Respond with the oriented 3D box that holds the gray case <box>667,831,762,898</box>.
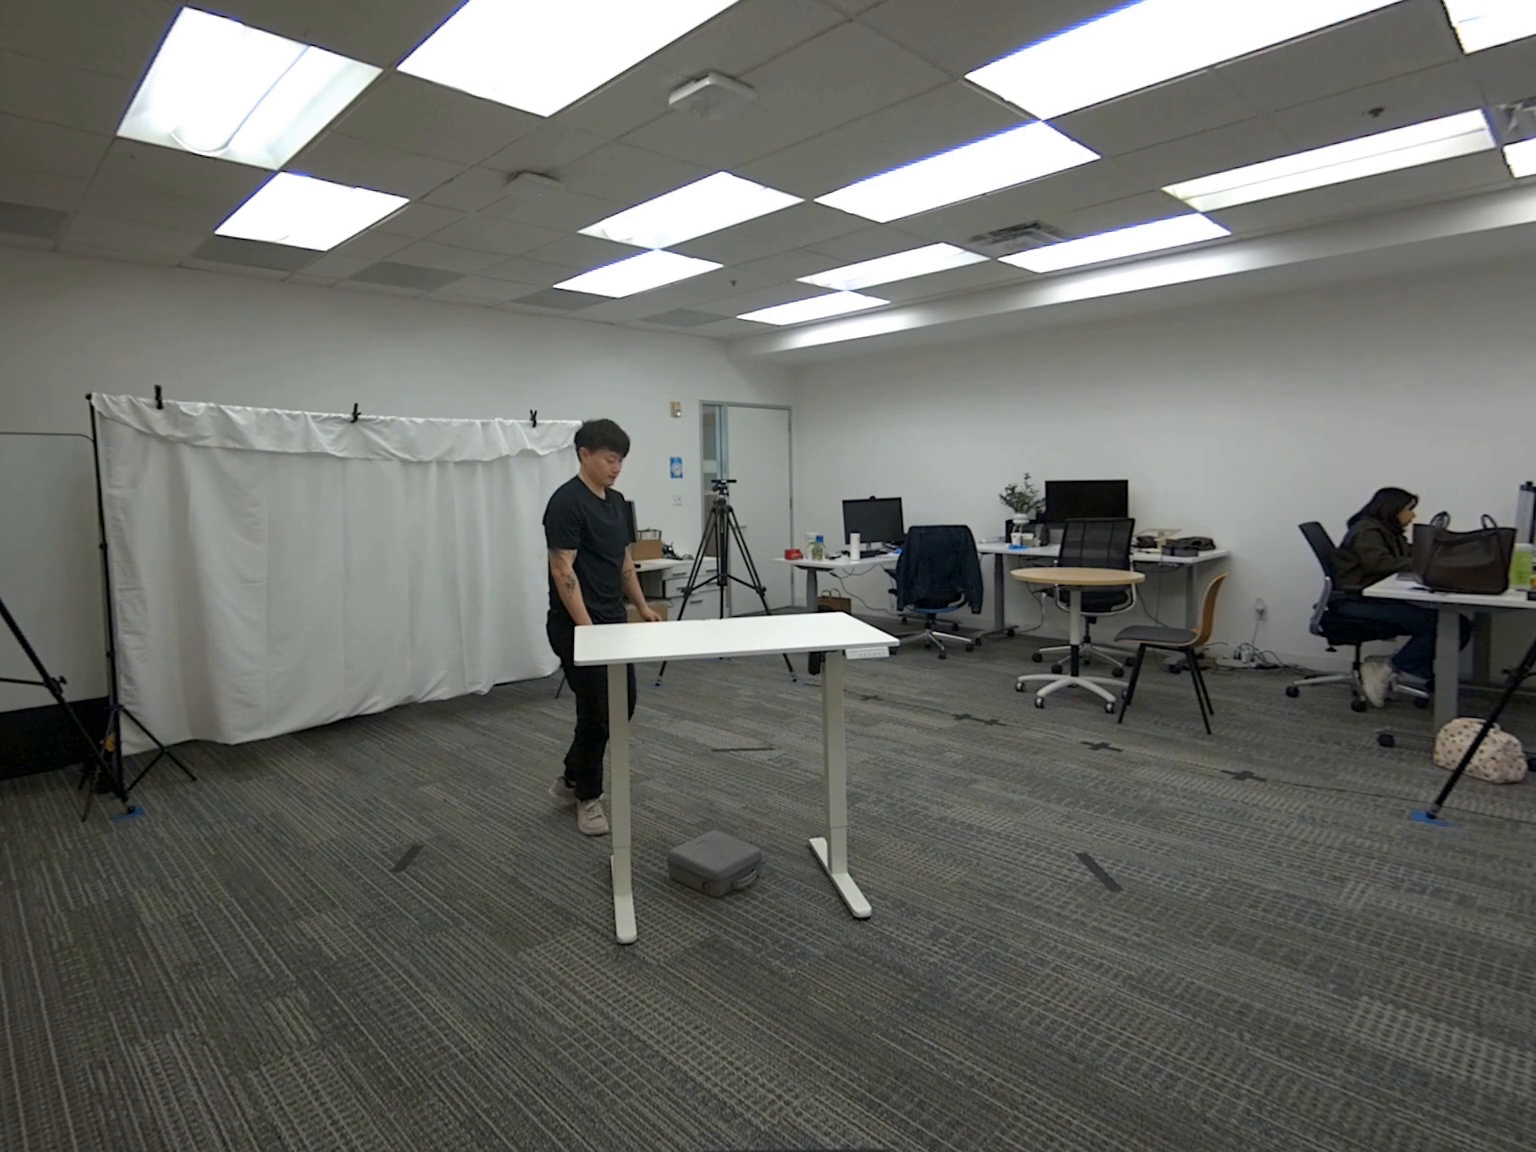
[{"bbox_3d":[-0.177,0.999,3.005,0.269,0.104,0.250,7,8,43],"label":"gray case"}]
